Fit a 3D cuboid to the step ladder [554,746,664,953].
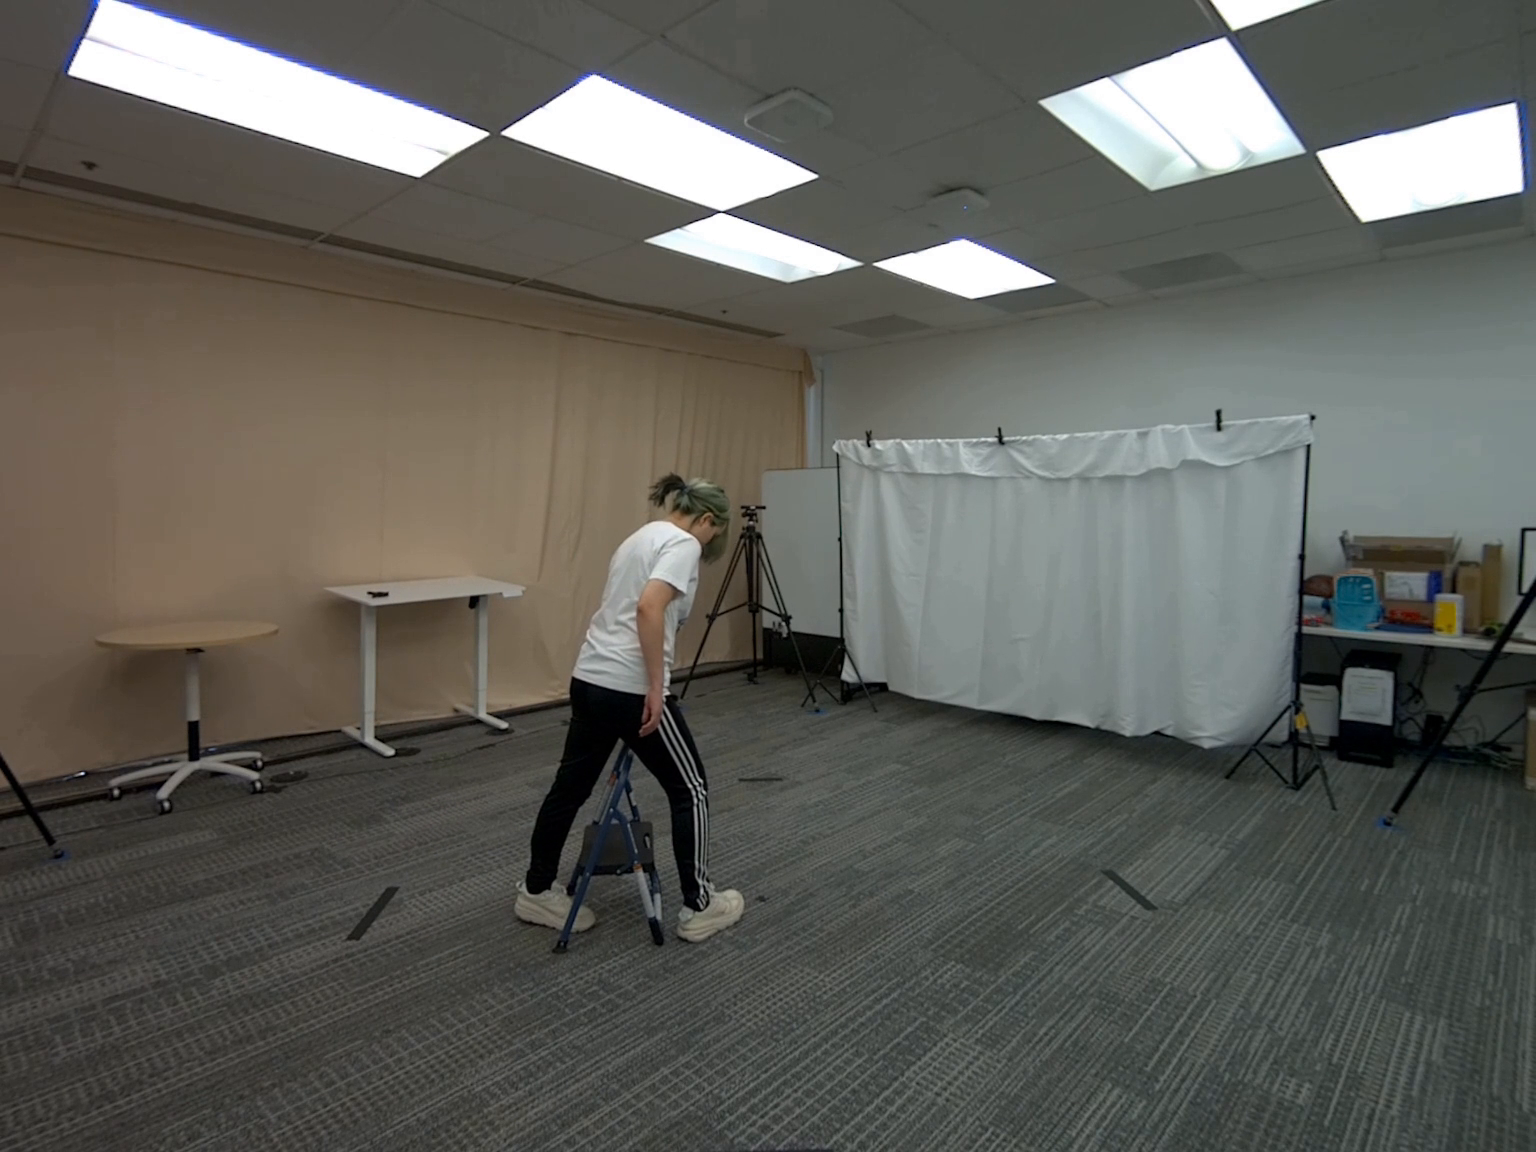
[{"bbox_3d":[-0.540,0.863,2.840,0.347,0.604,0.434,-1,4,-7],"label":"step ladder"}]
